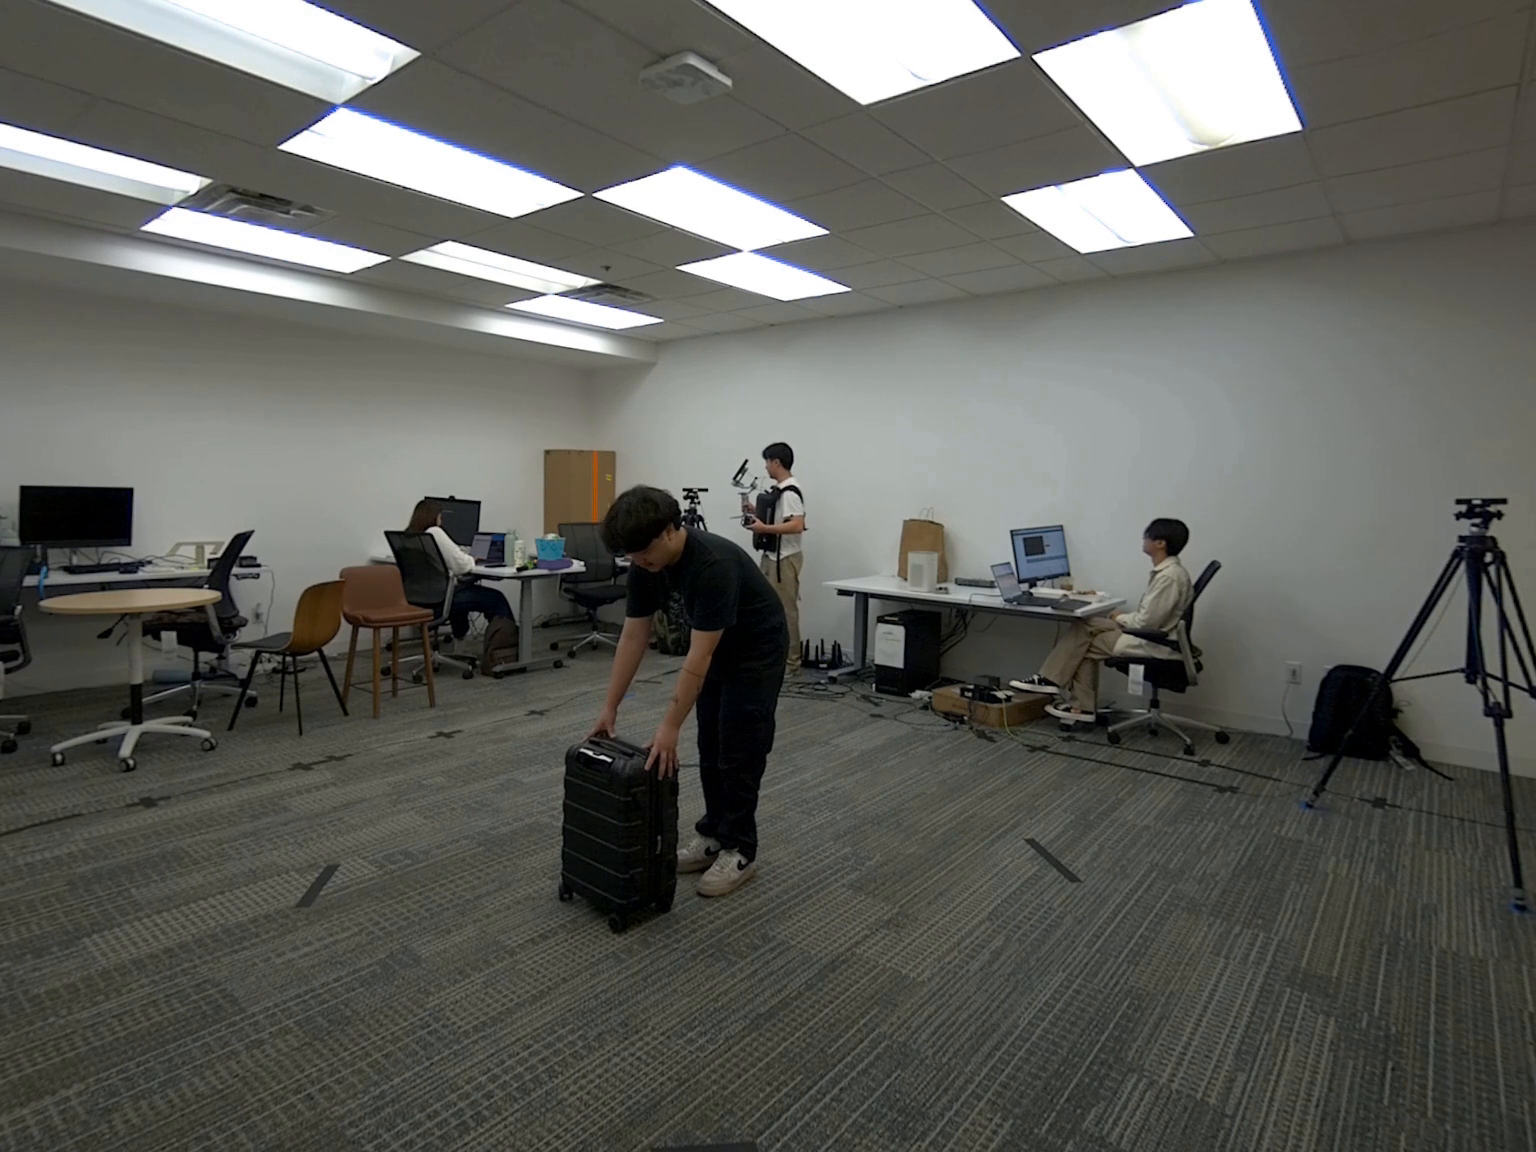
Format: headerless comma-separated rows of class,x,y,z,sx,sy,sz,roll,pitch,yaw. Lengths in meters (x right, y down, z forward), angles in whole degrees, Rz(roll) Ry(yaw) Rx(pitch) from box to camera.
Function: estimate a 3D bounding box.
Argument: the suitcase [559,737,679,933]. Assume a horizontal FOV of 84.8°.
suitcase,-0.503,0.818,2.814,0.388,0.548,0.240,5,4,43
